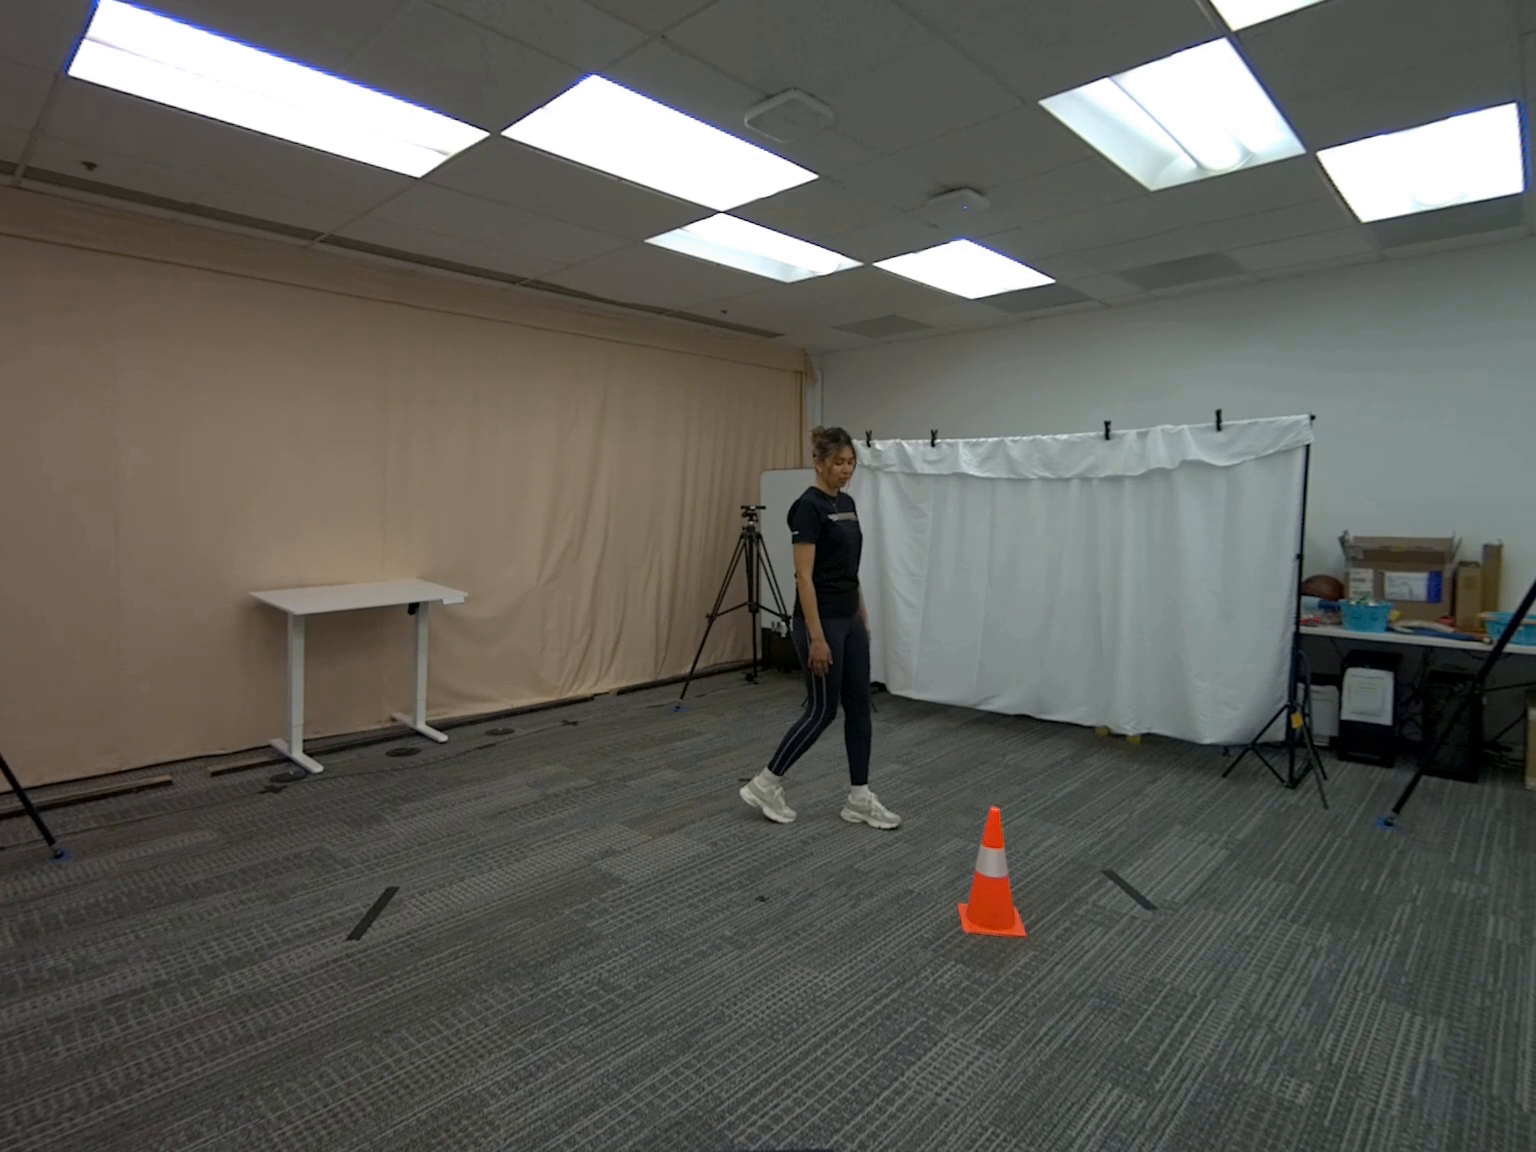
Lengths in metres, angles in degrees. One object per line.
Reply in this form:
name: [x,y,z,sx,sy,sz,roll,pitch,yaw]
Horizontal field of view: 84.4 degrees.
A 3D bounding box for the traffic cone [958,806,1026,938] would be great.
traffic cone: [0.754,0.969,2.816,0.207,0.383,0.201,1,3,10]
